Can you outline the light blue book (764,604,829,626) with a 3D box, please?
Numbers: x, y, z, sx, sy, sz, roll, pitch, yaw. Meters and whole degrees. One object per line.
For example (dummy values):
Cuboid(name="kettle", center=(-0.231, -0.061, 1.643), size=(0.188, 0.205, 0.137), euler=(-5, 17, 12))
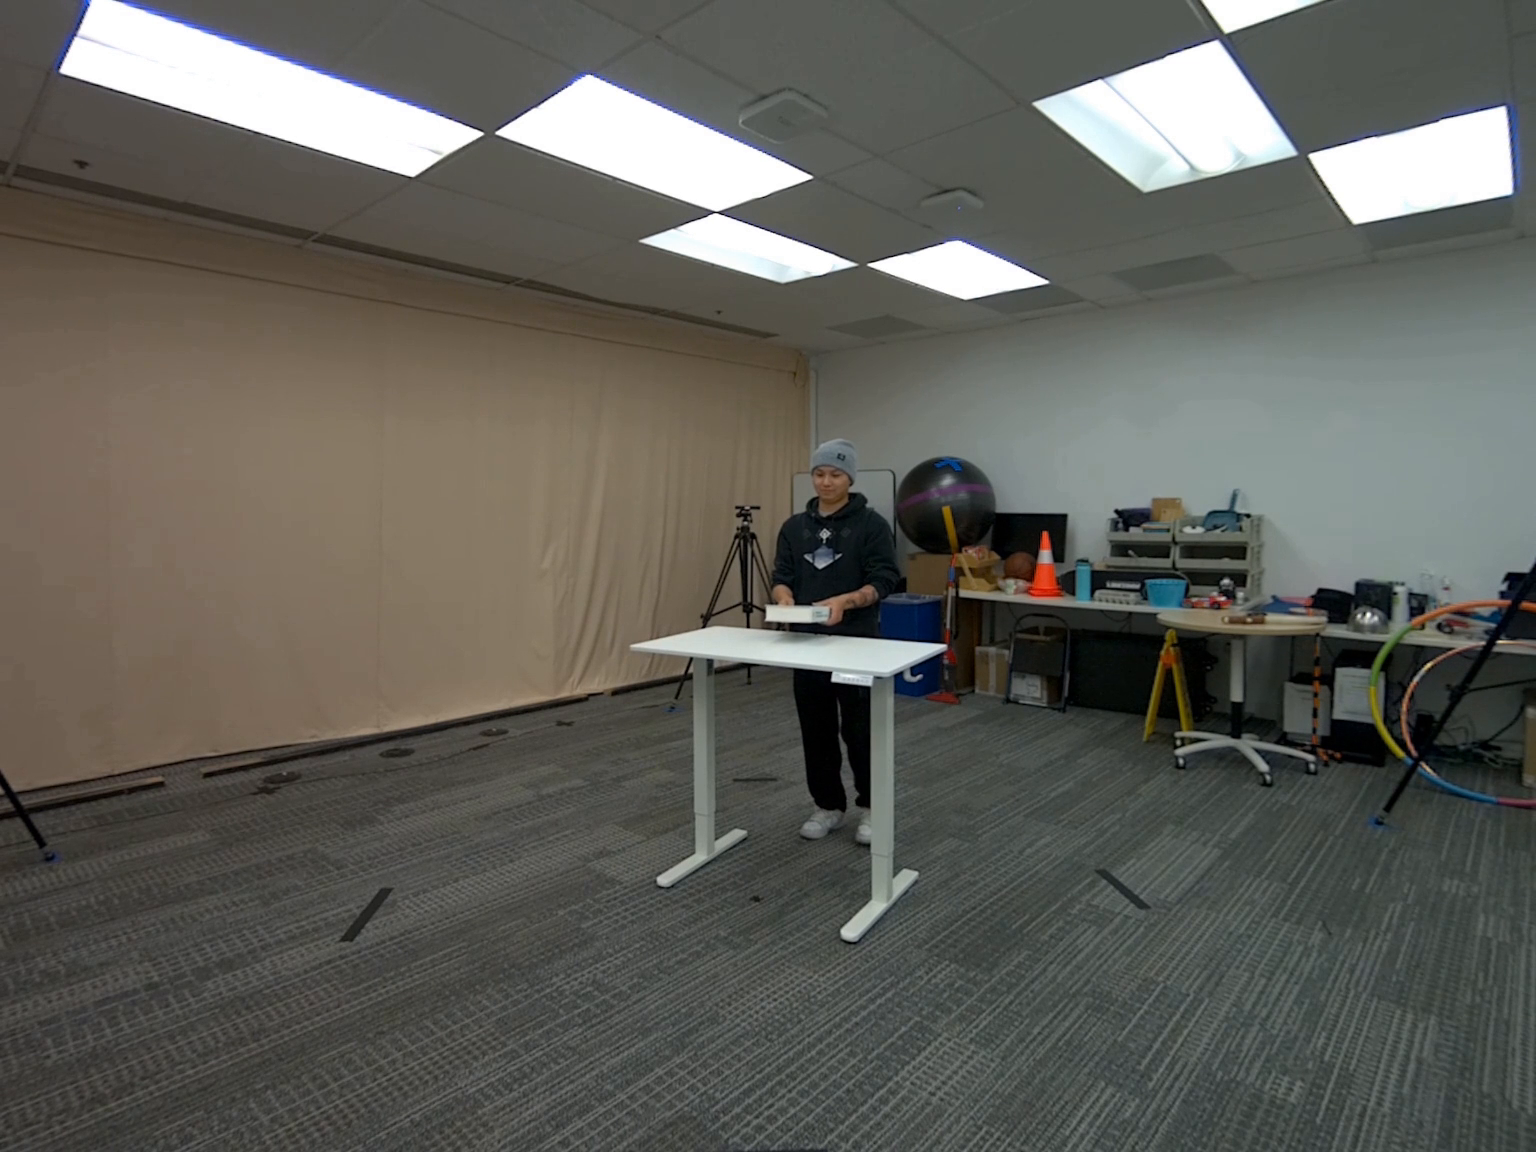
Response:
Cuboid(name="light blue book", center=(0.098, 0.146, 3.216), size=(0.192, 0.059, 0.259), euler=(5, -2, 4))
